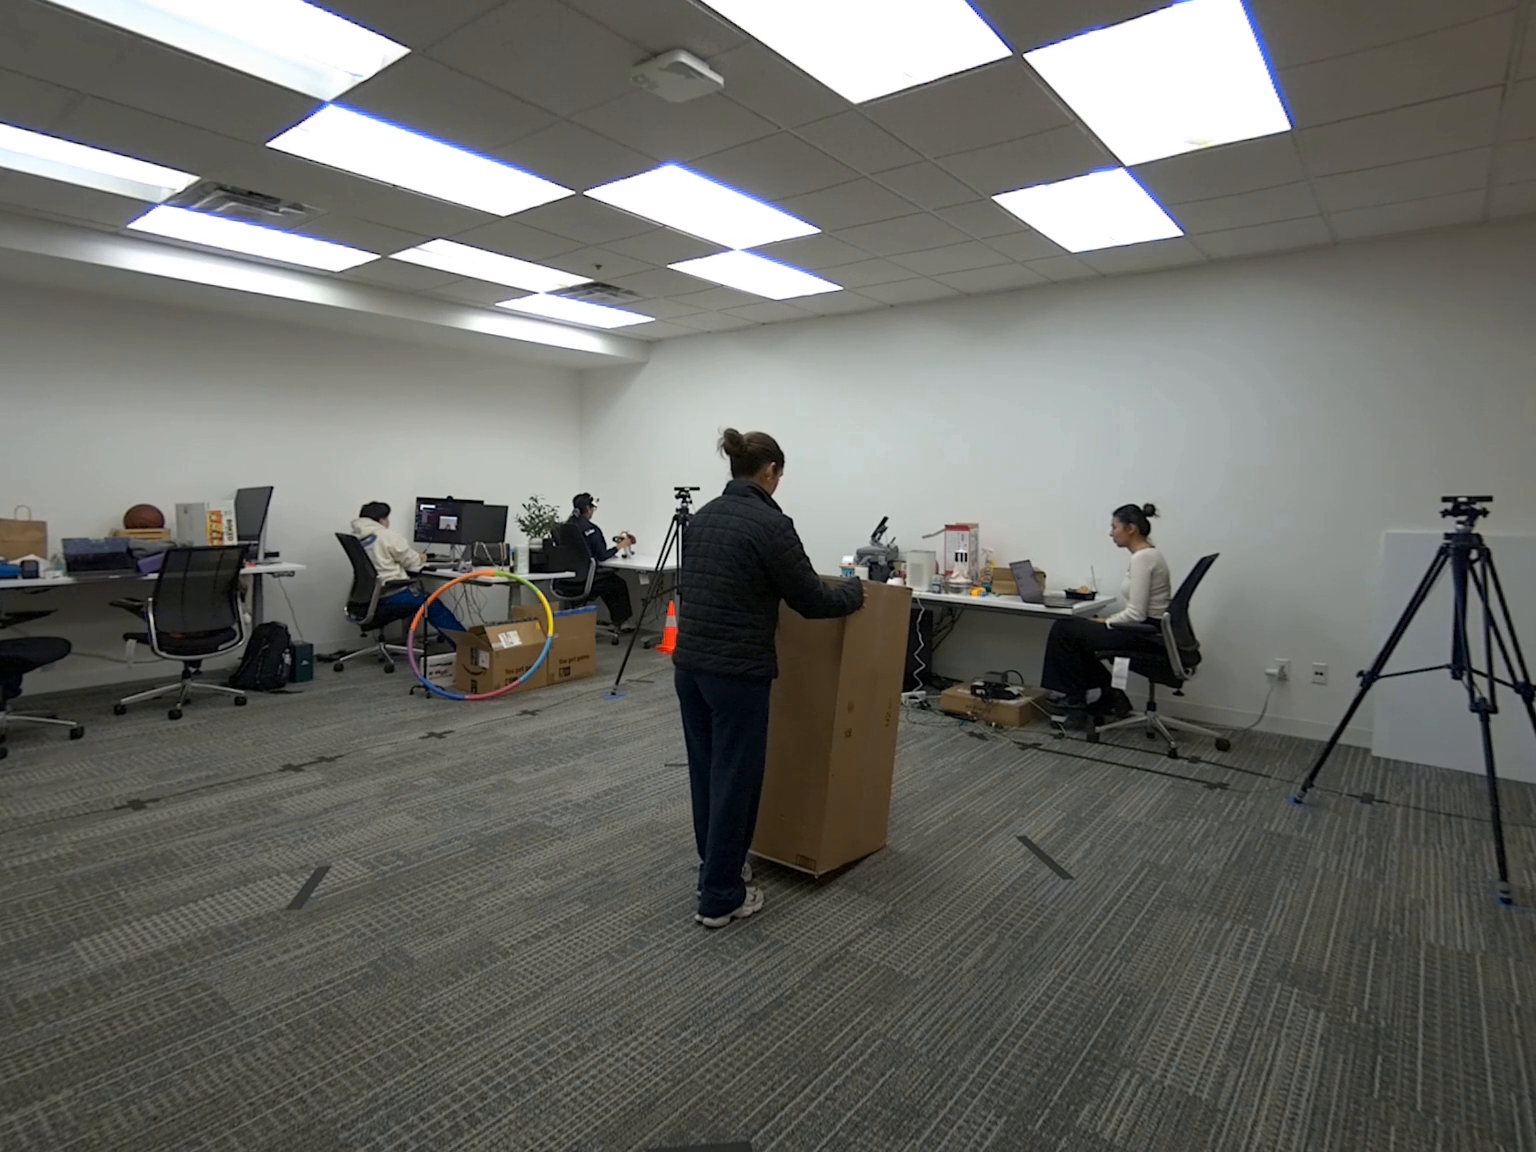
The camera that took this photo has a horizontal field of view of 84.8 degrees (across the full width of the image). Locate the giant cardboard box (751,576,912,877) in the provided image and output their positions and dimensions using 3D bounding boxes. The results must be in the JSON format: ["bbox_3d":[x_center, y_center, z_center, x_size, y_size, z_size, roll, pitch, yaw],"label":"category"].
[{"bbox_3d":[0.215,0.517,3.281,0.440,1.028,0.558,5,-3,34],"label":"giant cardboard box"}]
